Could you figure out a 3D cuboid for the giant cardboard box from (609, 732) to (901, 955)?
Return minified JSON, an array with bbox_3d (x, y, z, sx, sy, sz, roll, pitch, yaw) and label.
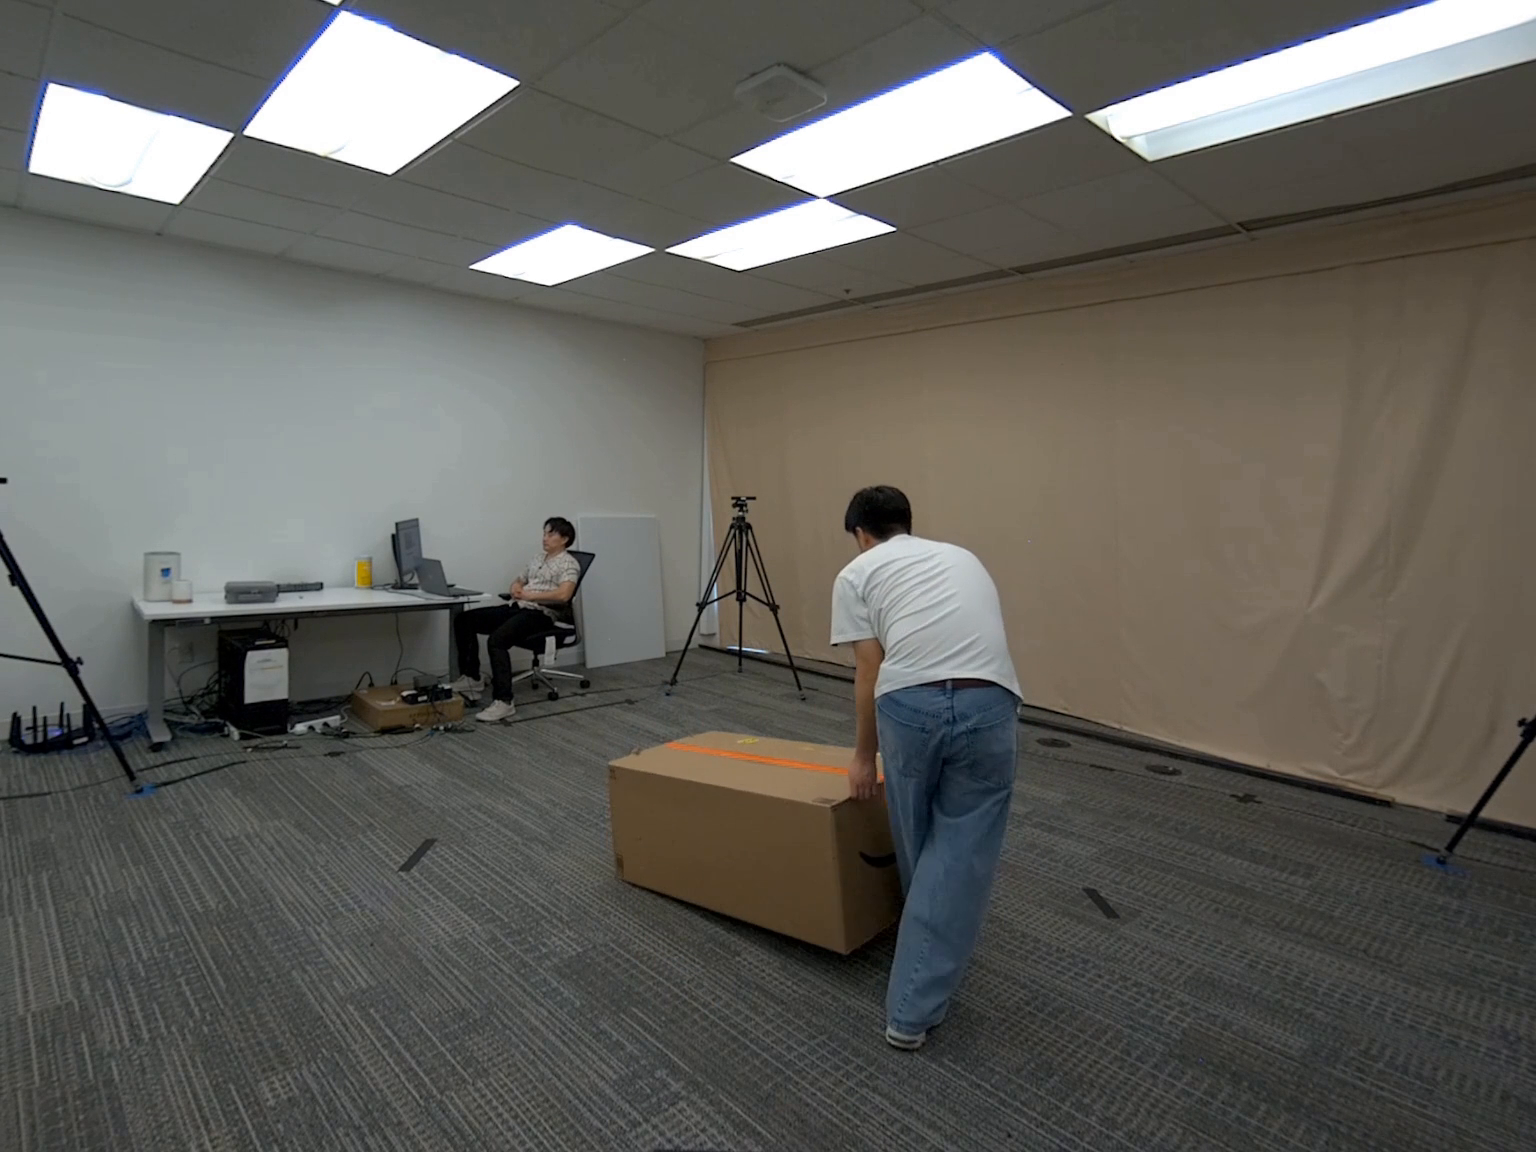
[{"bbox_3d":[-0.009,0.852,2.926,1.049,0.426,0.565,-3,1,42],"label":"giant cardboard box"}]
